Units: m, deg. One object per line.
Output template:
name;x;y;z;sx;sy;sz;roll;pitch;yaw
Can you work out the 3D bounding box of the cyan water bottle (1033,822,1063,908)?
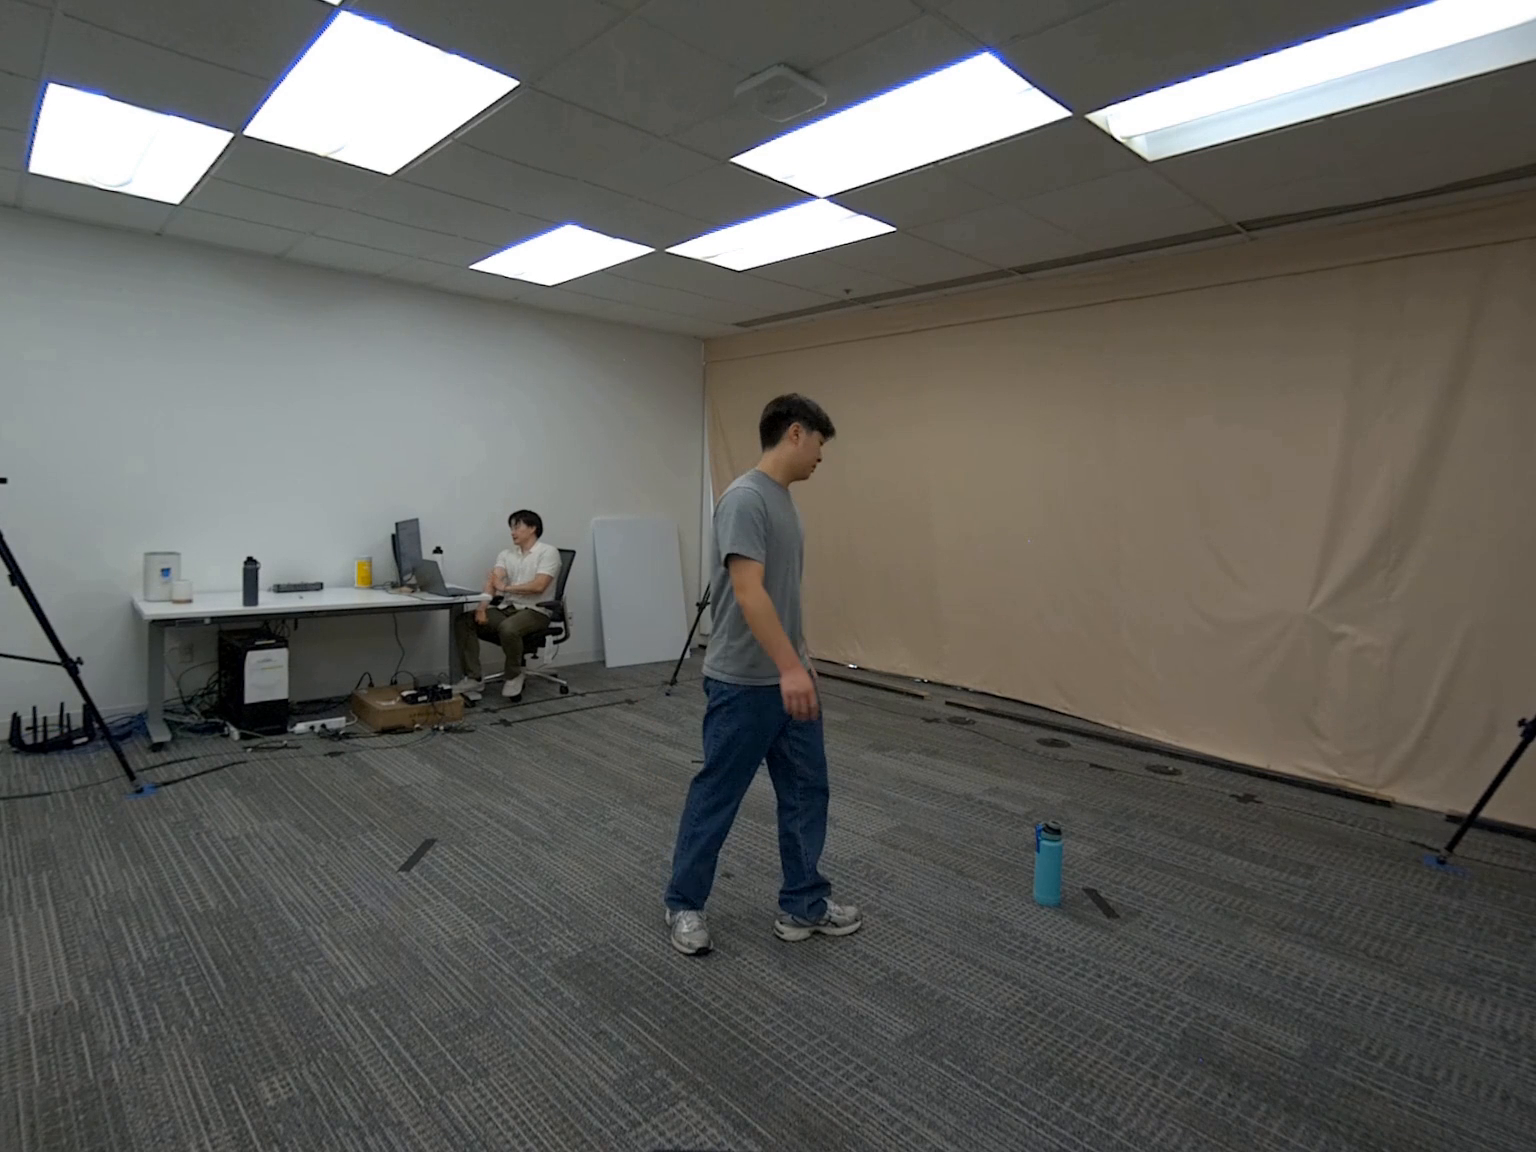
cyan water bottle;0.982;1.008;2.971;0.092;0.283;0.092;2;3;-2
